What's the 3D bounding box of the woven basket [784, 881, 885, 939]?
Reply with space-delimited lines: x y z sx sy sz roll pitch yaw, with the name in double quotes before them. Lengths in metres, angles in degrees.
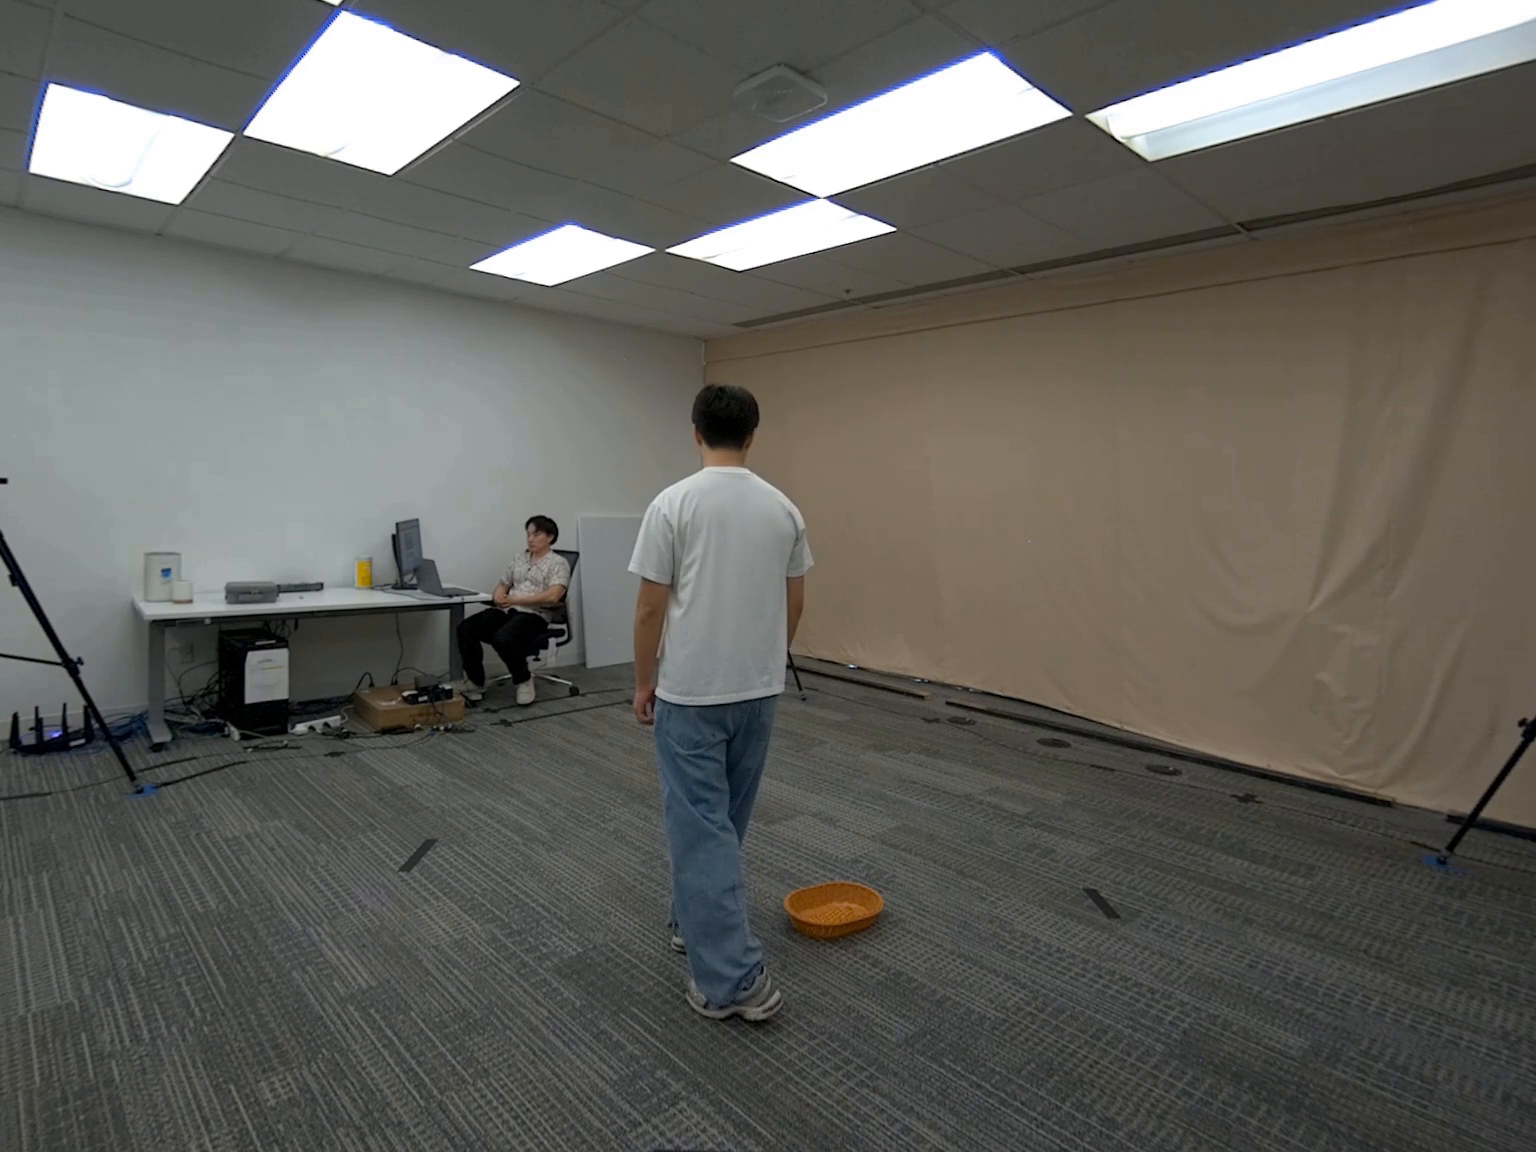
"woven basket" 0.207 1.106 2.779 0.344 0.073 0.258 -1 6 -27
